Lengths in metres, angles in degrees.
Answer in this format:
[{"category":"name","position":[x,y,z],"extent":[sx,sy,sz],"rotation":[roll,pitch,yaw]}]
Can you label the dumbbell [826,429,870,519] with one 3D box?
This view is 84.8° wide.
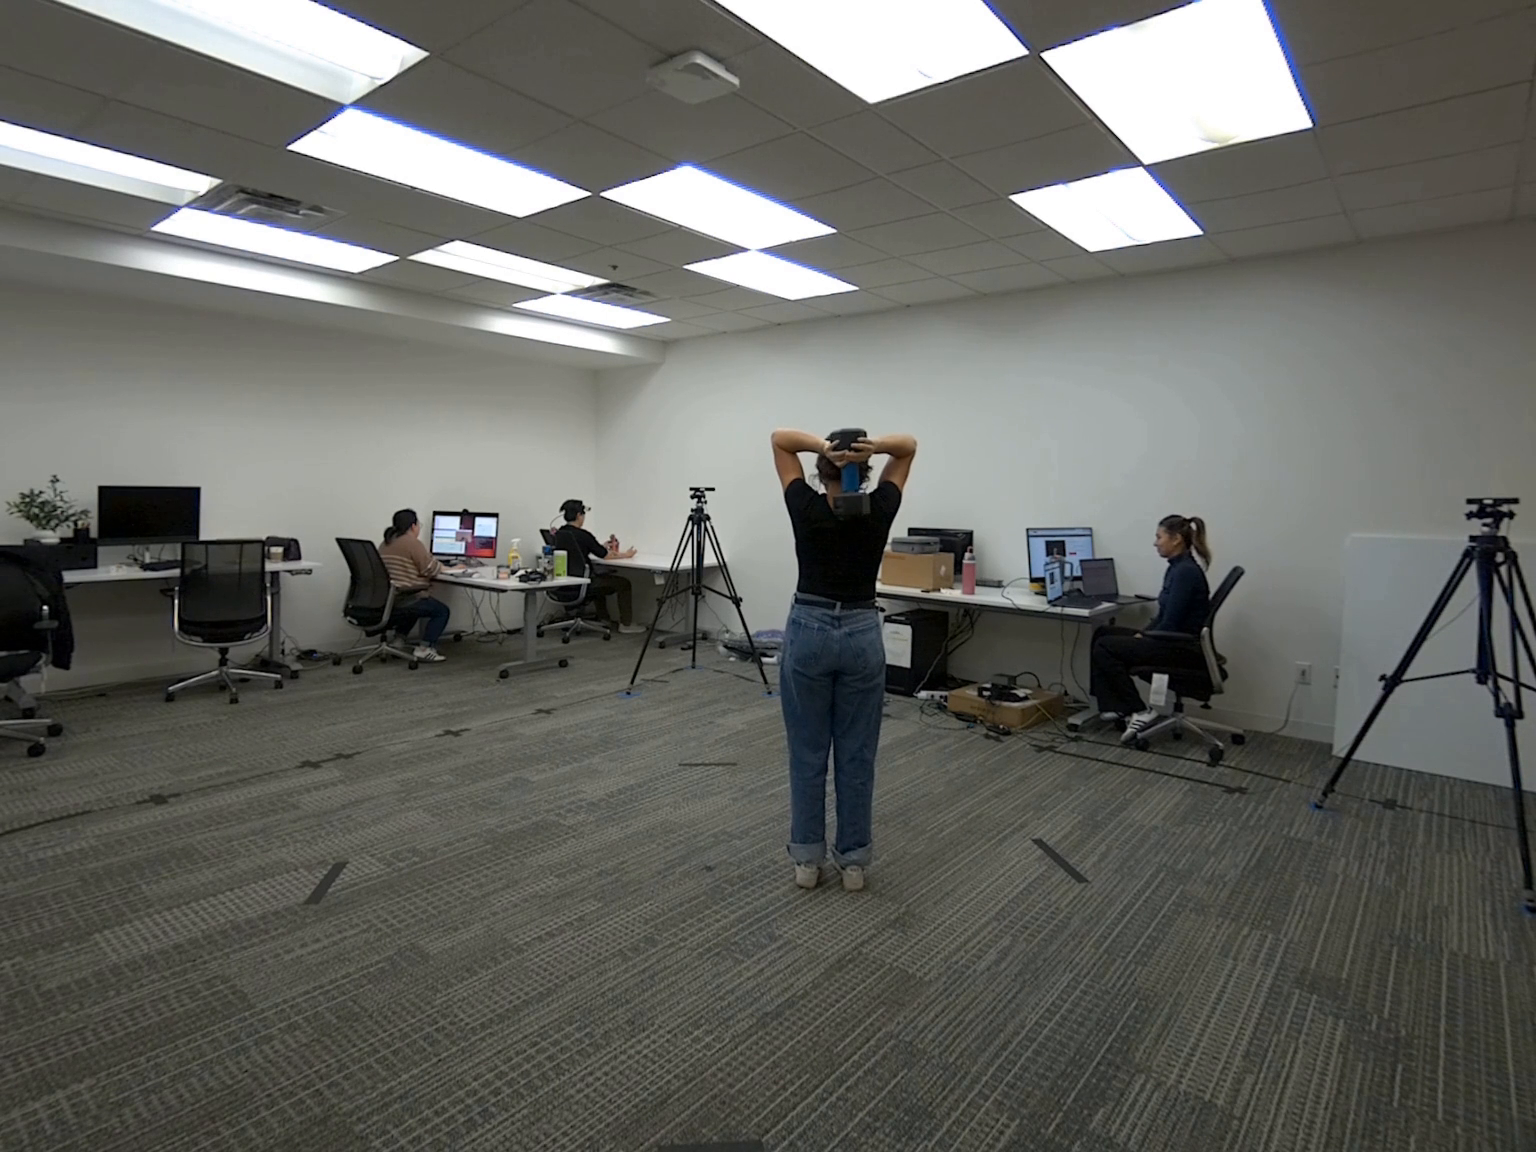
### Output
[{"category":"dumbbell","position":[0.270,-0.355,2.845],"extent":[0.112,0.294,0.119],"rotation":[-1,0,31]}]
